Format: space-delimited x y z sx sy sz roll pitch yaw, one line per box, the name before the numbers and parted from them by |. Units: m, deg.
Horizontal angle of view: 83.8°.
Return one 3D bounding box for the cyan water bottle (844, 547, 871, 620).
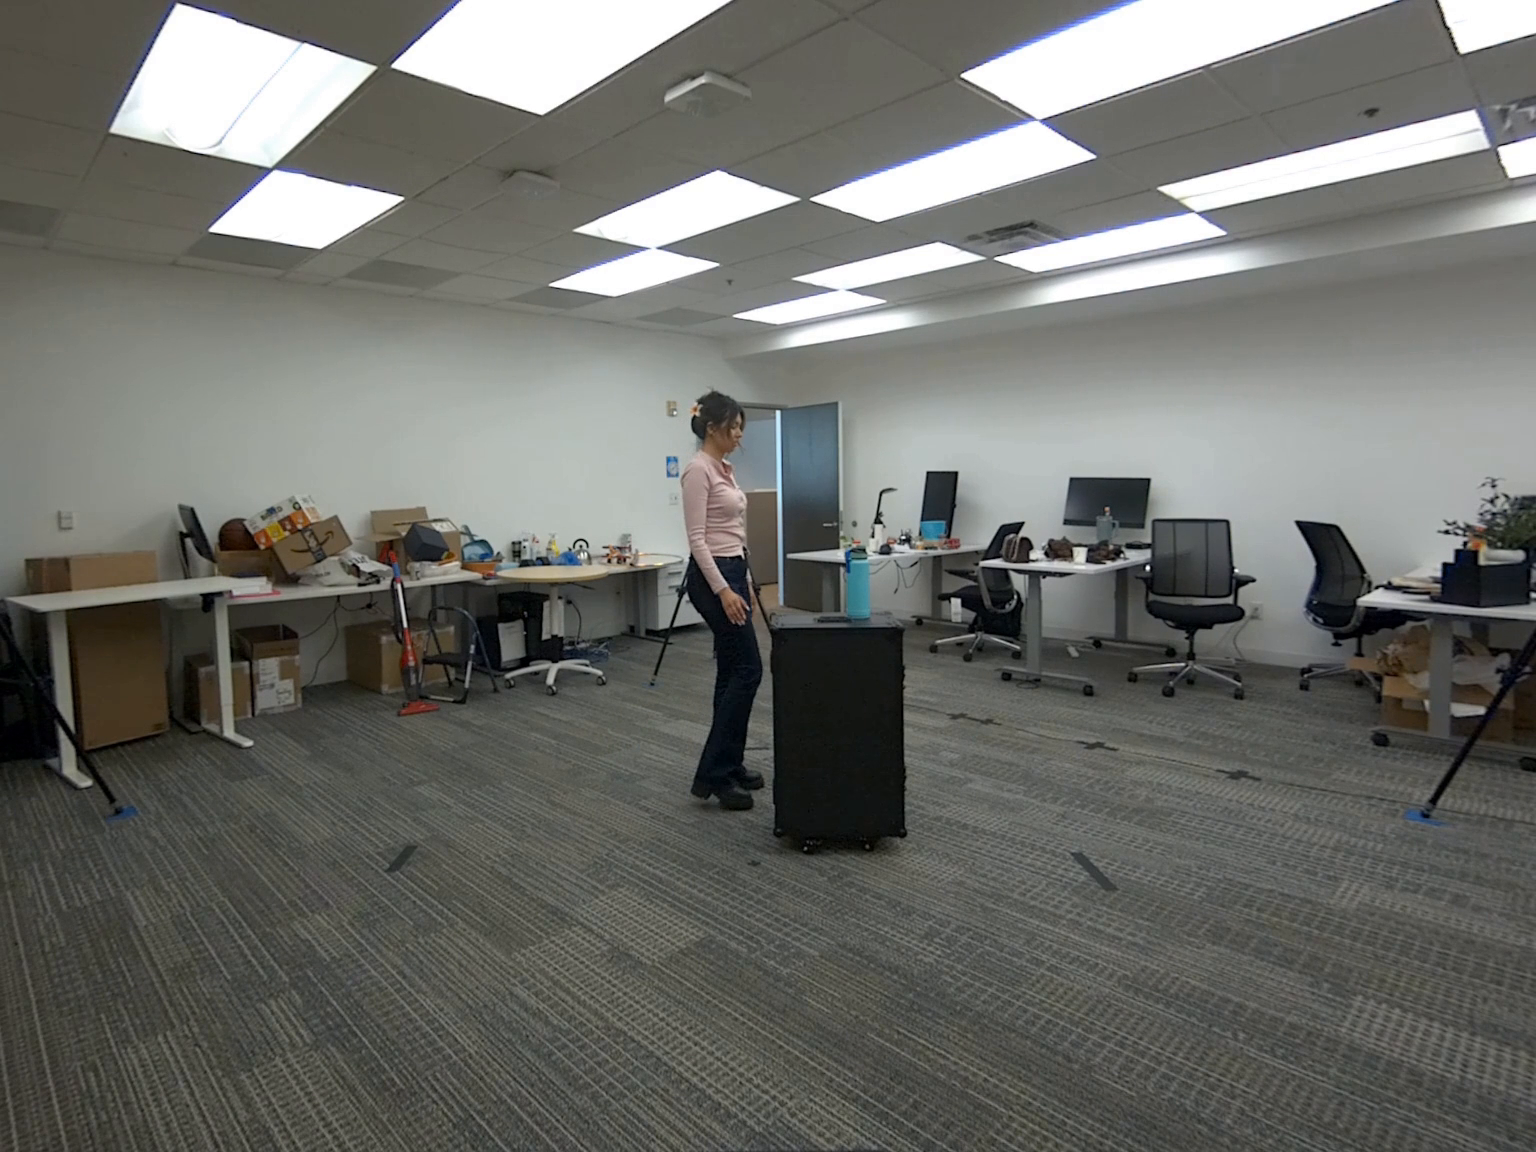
cyan water bottle | 0.356 0.020 3.335 0.092 0.281 0.093 -3 8 -1
